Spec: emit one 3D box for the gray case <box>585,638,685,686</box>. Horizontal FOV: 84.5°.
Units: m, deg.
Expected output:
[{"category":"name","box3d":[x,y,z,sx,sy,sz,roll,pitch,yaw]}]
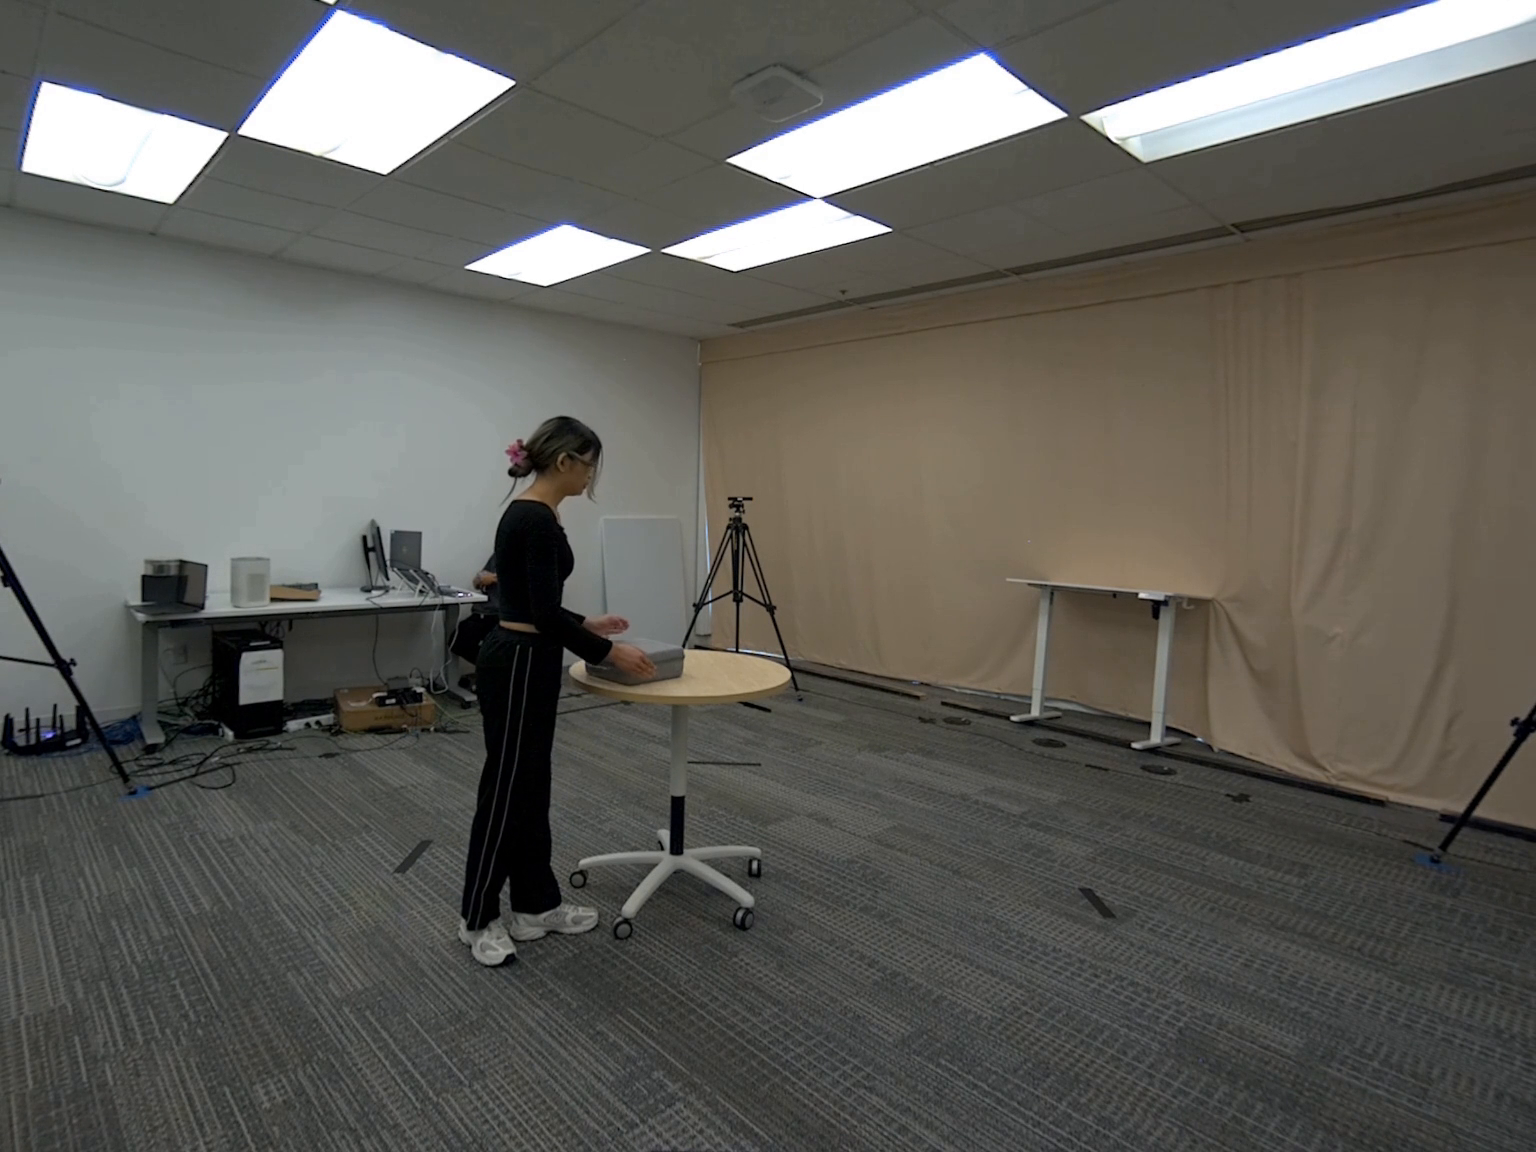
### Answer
[{"category":"gray case","box3d":[-0.454,0.276,2.827,0.264,0.104,0.255,9,10,40]}]
